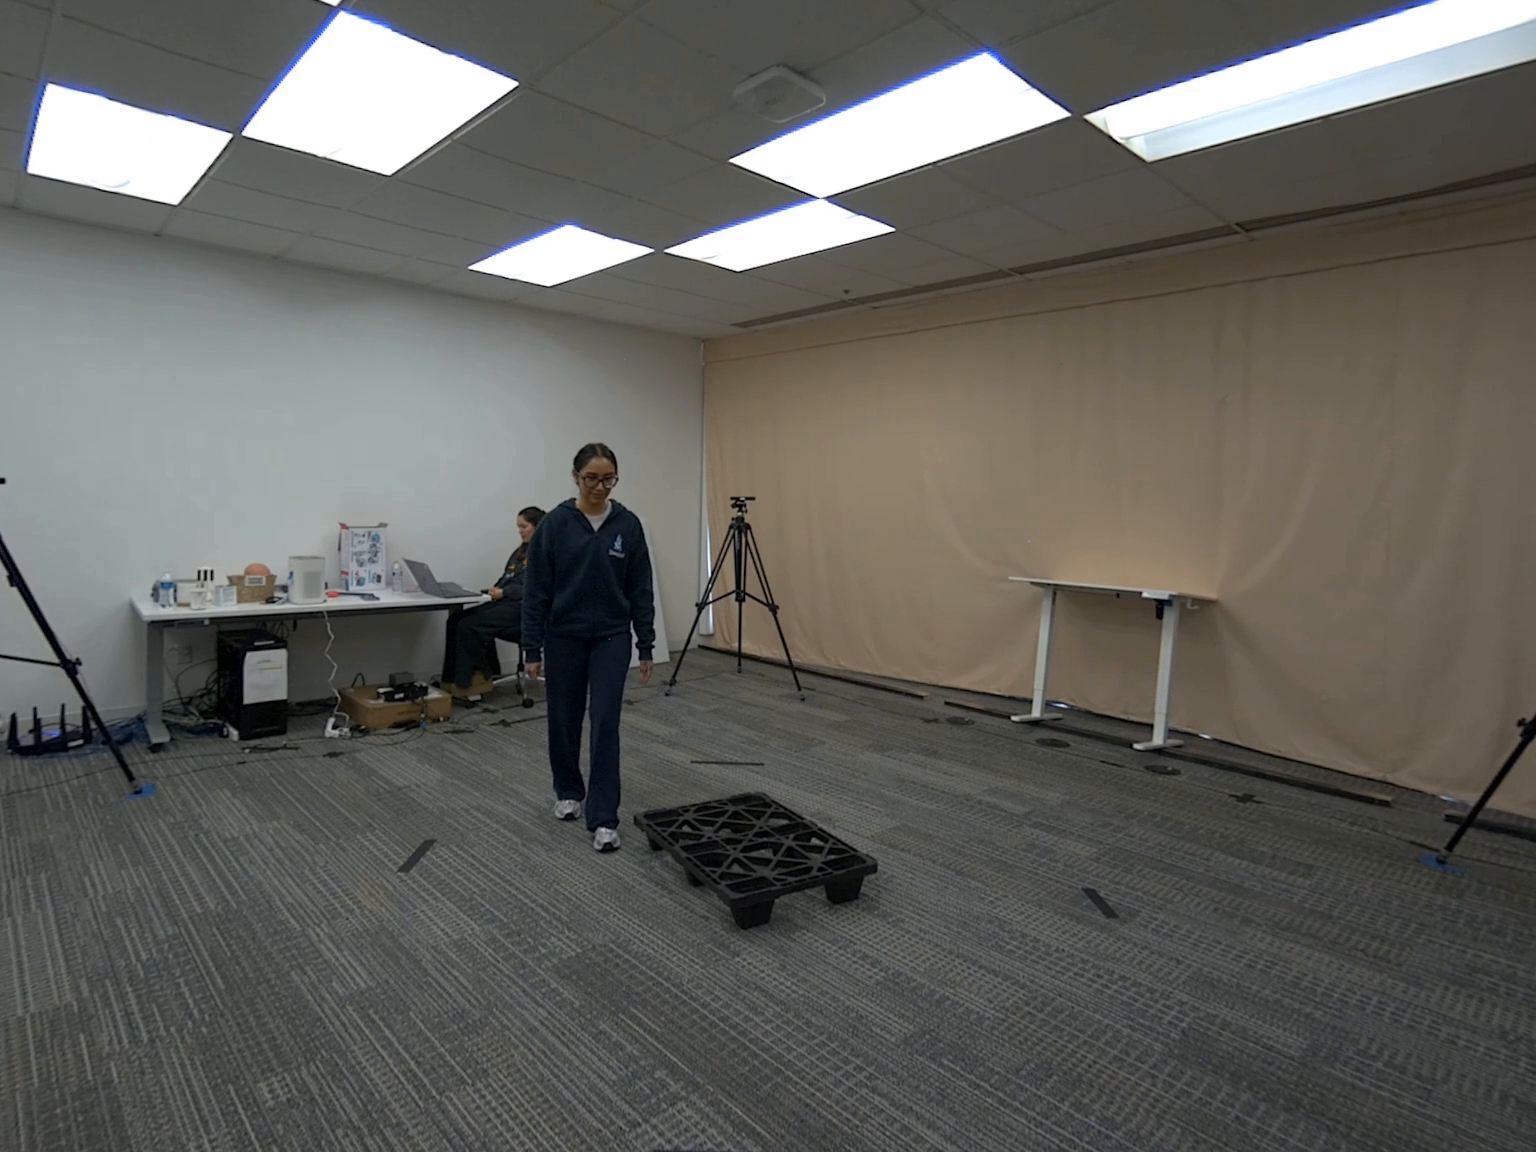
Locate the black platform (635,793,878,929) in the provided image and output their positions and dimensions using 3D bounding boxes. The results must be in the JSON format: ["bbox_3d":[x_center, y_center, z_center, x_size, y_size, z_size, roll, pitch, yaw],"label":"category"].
[{"bbox_3d":[-0.081,1.039,3.144,0.592,0.143,0.825,-1,6,-31],"label":"black platform"}]
